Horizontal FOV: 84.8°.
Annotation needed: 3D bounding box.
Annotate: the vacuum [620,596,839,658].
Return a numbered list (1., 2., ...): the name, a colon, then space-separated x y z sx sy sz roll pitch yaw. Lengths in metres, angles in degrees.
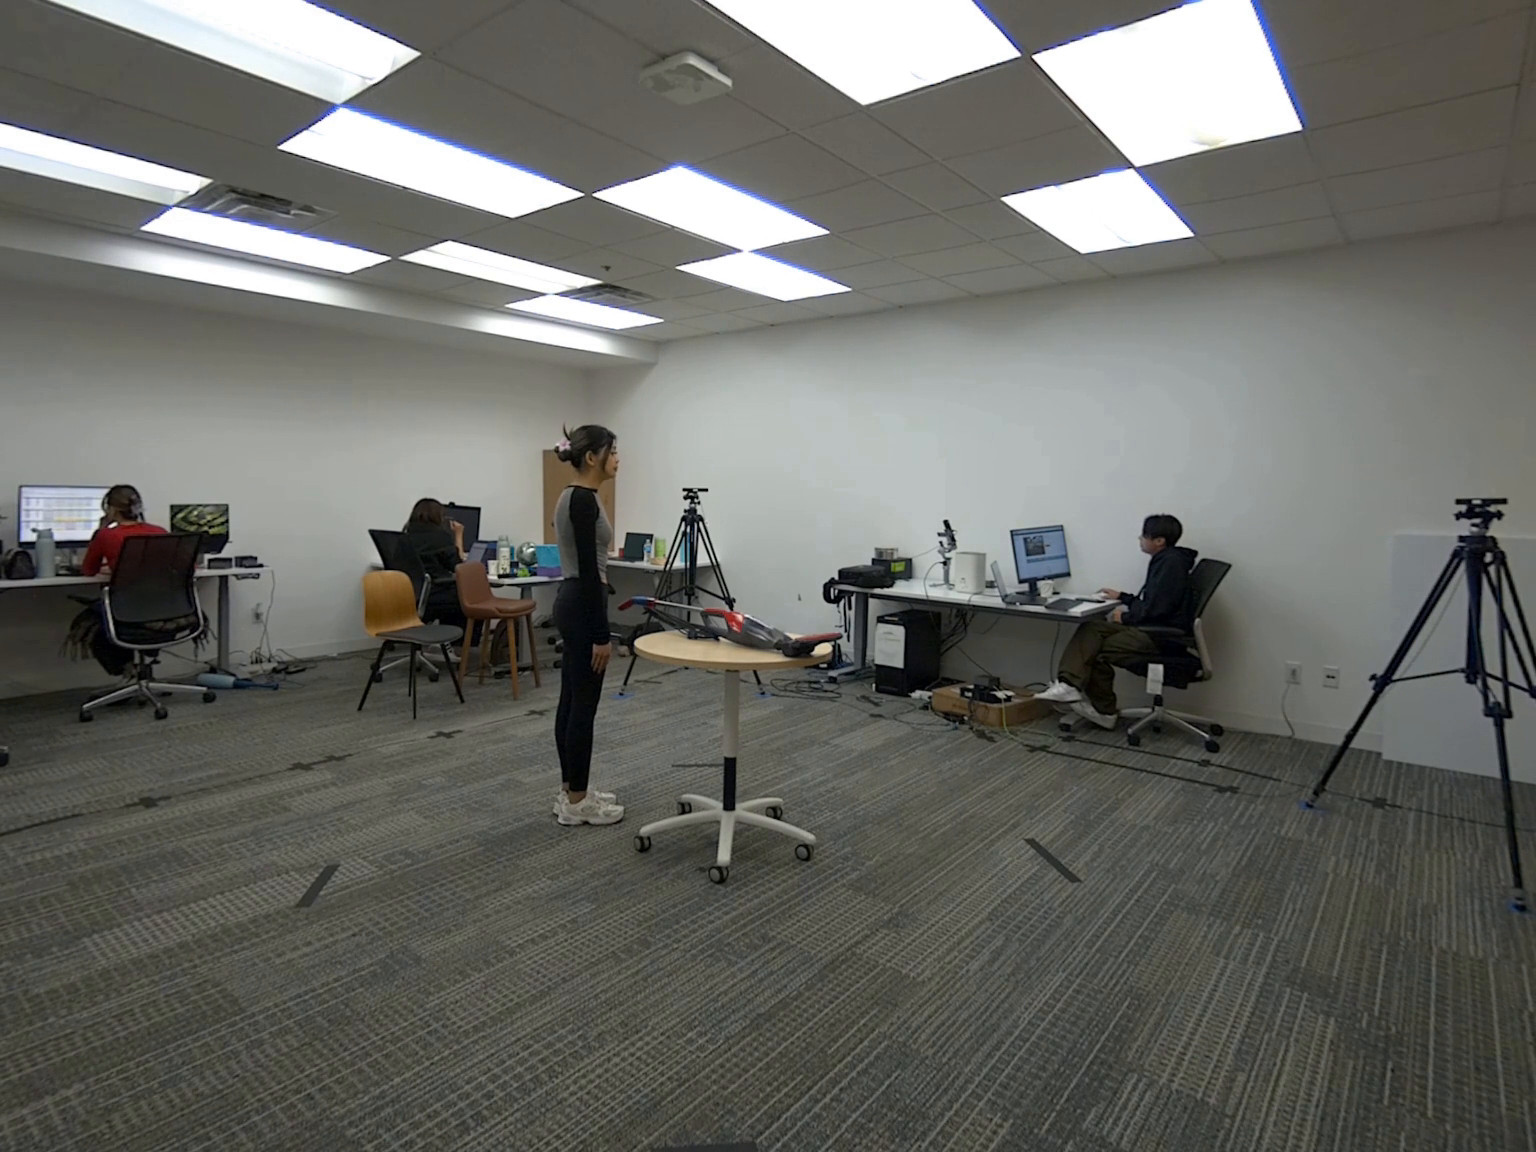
1. vacuum: -0.256 0.201 3.407 1.086 0.143 0.245 8 8 41
